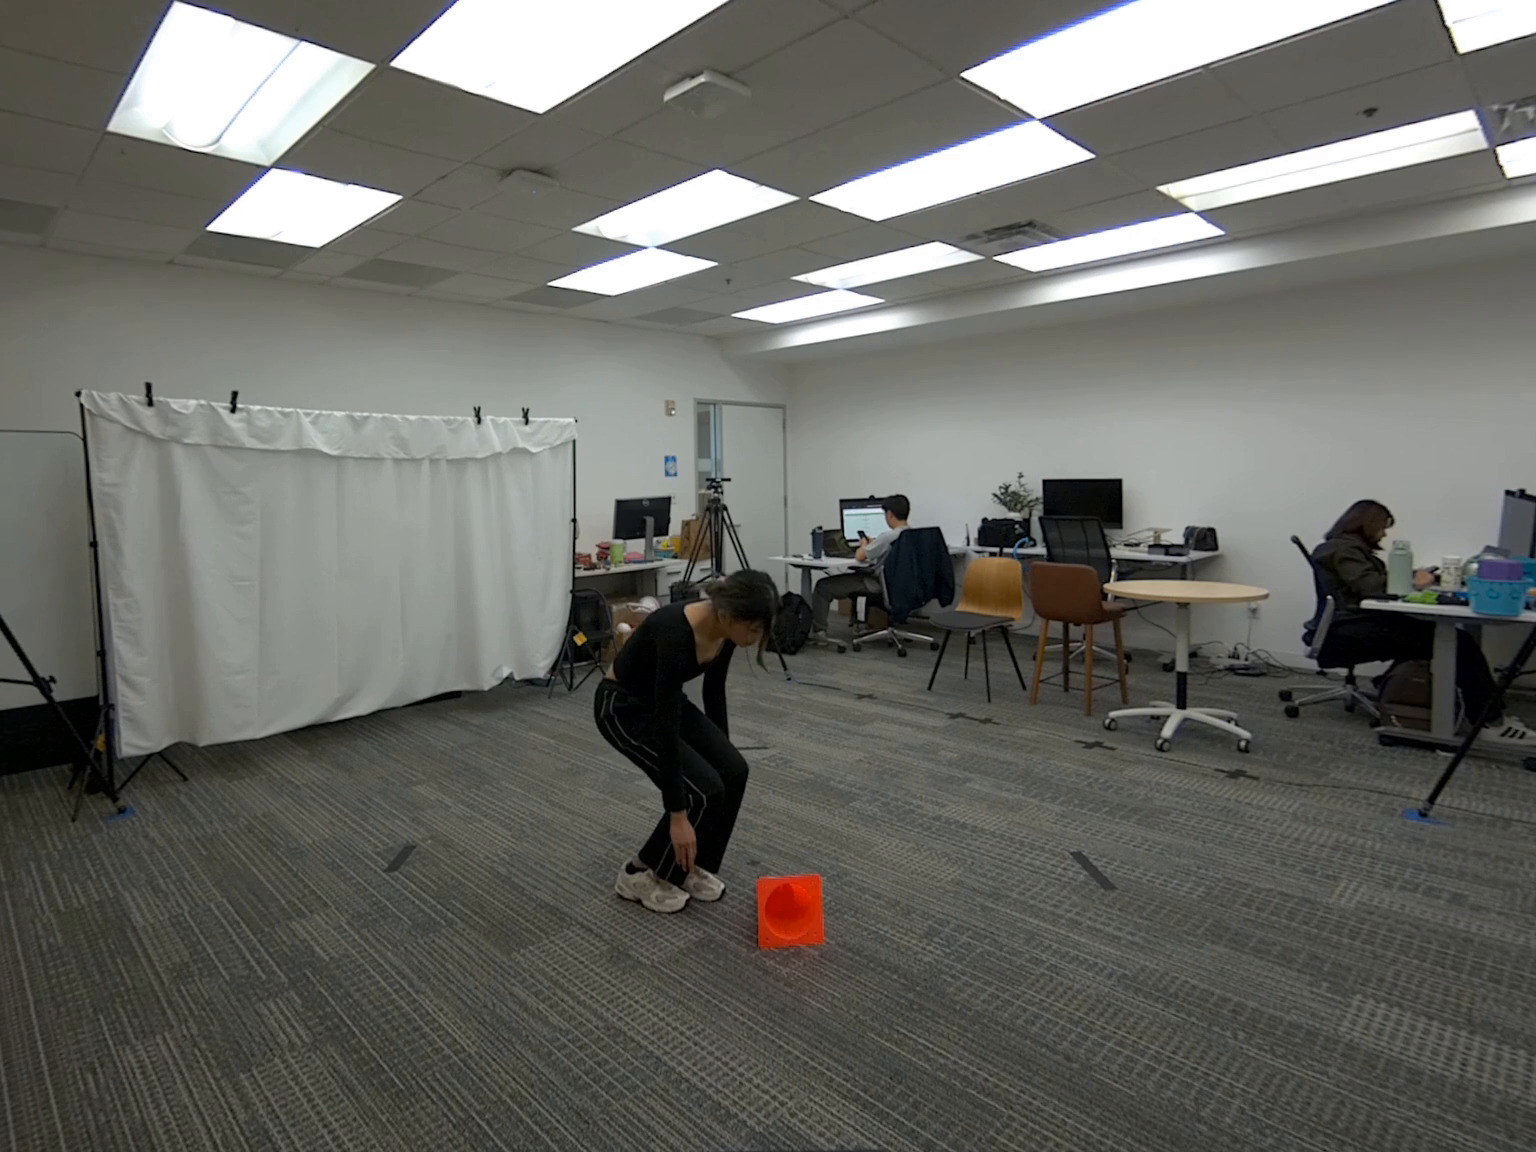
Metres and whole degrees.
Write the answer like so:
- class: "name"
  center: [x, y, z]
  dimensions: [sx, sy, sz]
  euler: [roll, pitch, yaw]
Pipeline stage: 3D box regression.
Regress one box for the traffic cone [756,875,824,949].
- class: "traffic cone"
  center: [0.021, 1.036, 2.751]
  dimensions: [0.201, 0.207, 0.384]
  euler: [-2, -8, -12]
